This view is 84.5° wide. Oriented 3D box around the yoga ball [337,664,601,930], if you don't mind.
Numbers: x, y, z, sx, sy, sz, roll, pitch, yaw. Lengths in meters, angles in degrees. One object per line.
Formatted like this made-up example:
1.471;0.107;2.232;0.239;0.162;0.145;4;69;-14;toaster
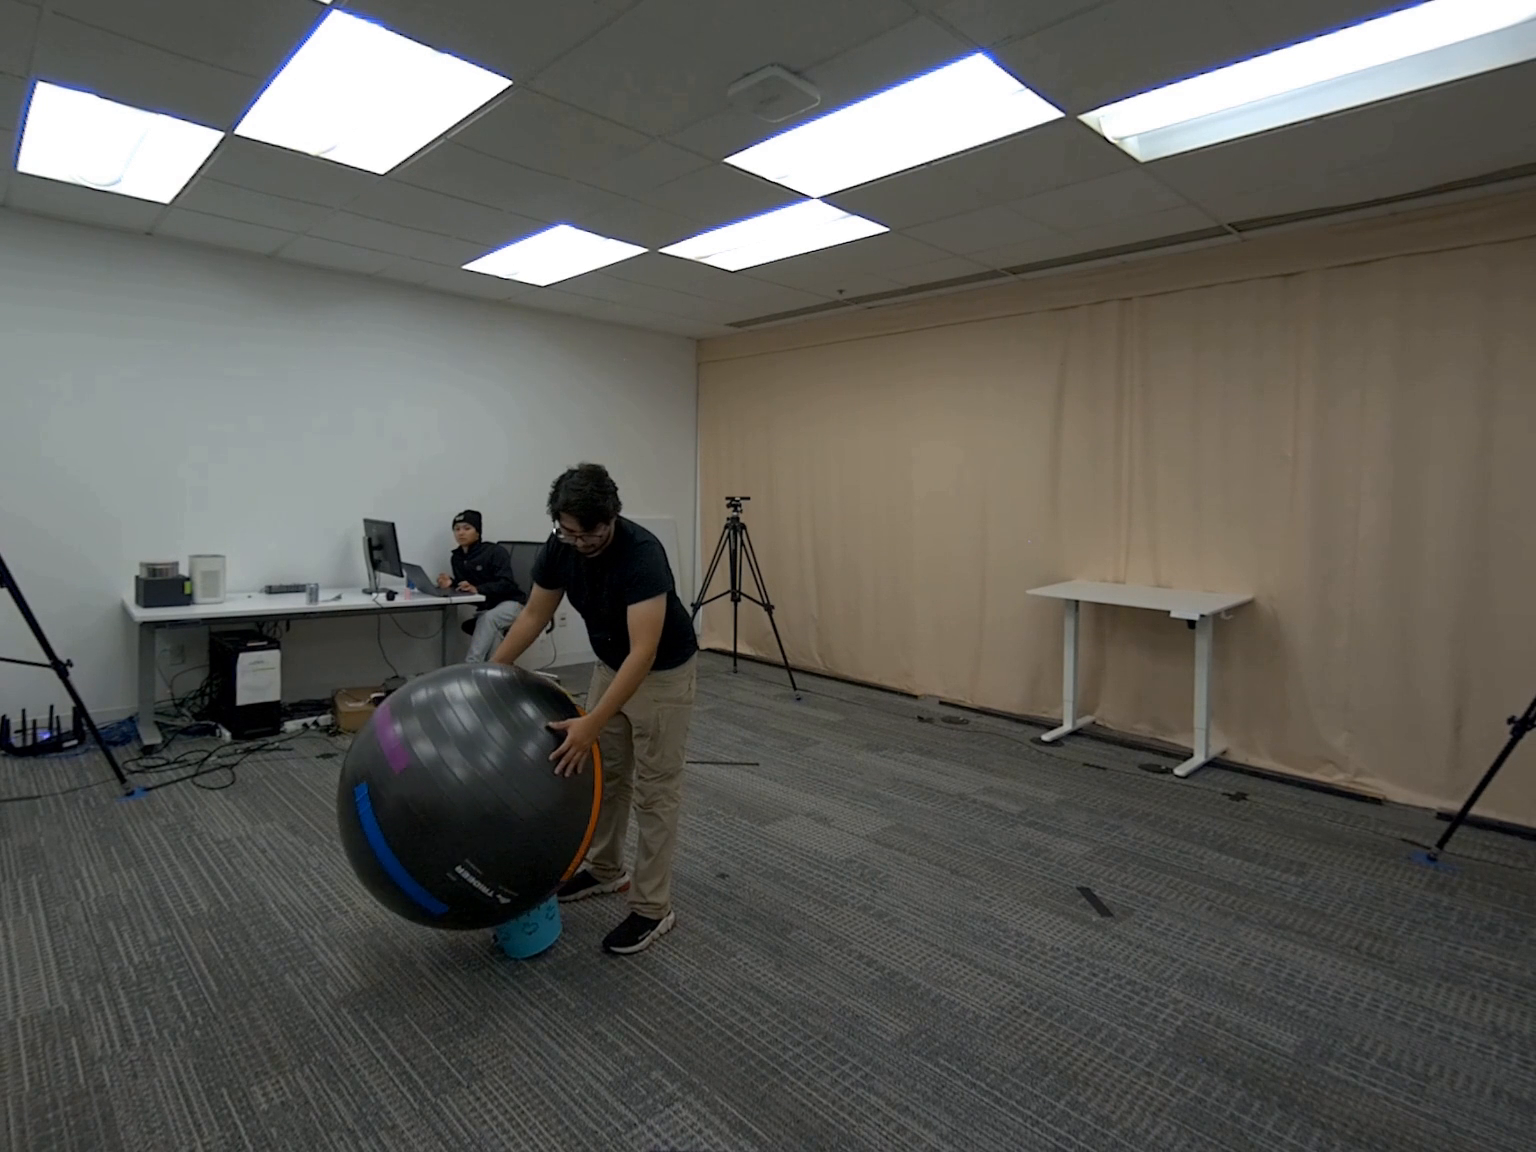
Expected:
-0.876;0.646;2.490;0.757;0.756;0.761;1;4;-1;yoga ball
